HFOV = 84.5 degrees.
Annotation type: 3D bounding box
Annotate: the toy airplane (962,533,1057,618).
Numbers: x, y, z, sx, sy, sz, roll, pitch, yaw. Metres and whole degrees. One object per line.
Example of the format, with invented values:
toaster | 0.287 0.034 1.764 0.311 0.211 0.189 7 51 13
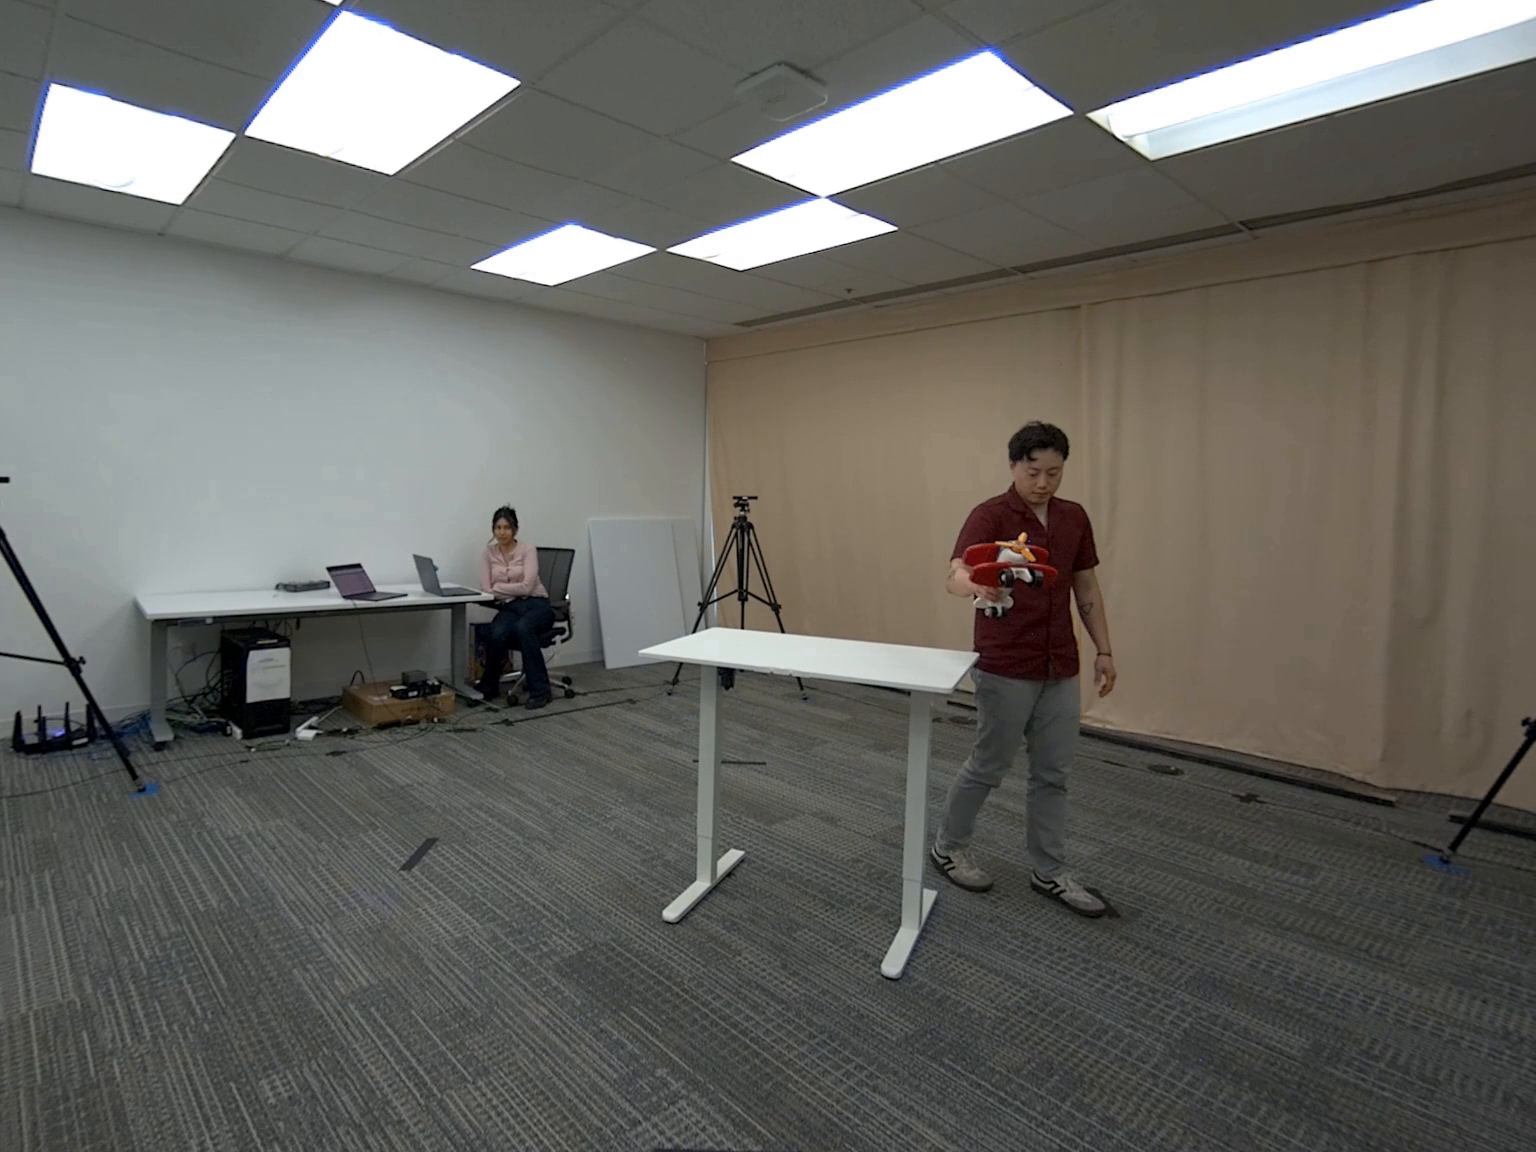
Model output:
toy airplane | 0.677 0.010 2.469 0.245 0.160 0.260 18 -37 -30
